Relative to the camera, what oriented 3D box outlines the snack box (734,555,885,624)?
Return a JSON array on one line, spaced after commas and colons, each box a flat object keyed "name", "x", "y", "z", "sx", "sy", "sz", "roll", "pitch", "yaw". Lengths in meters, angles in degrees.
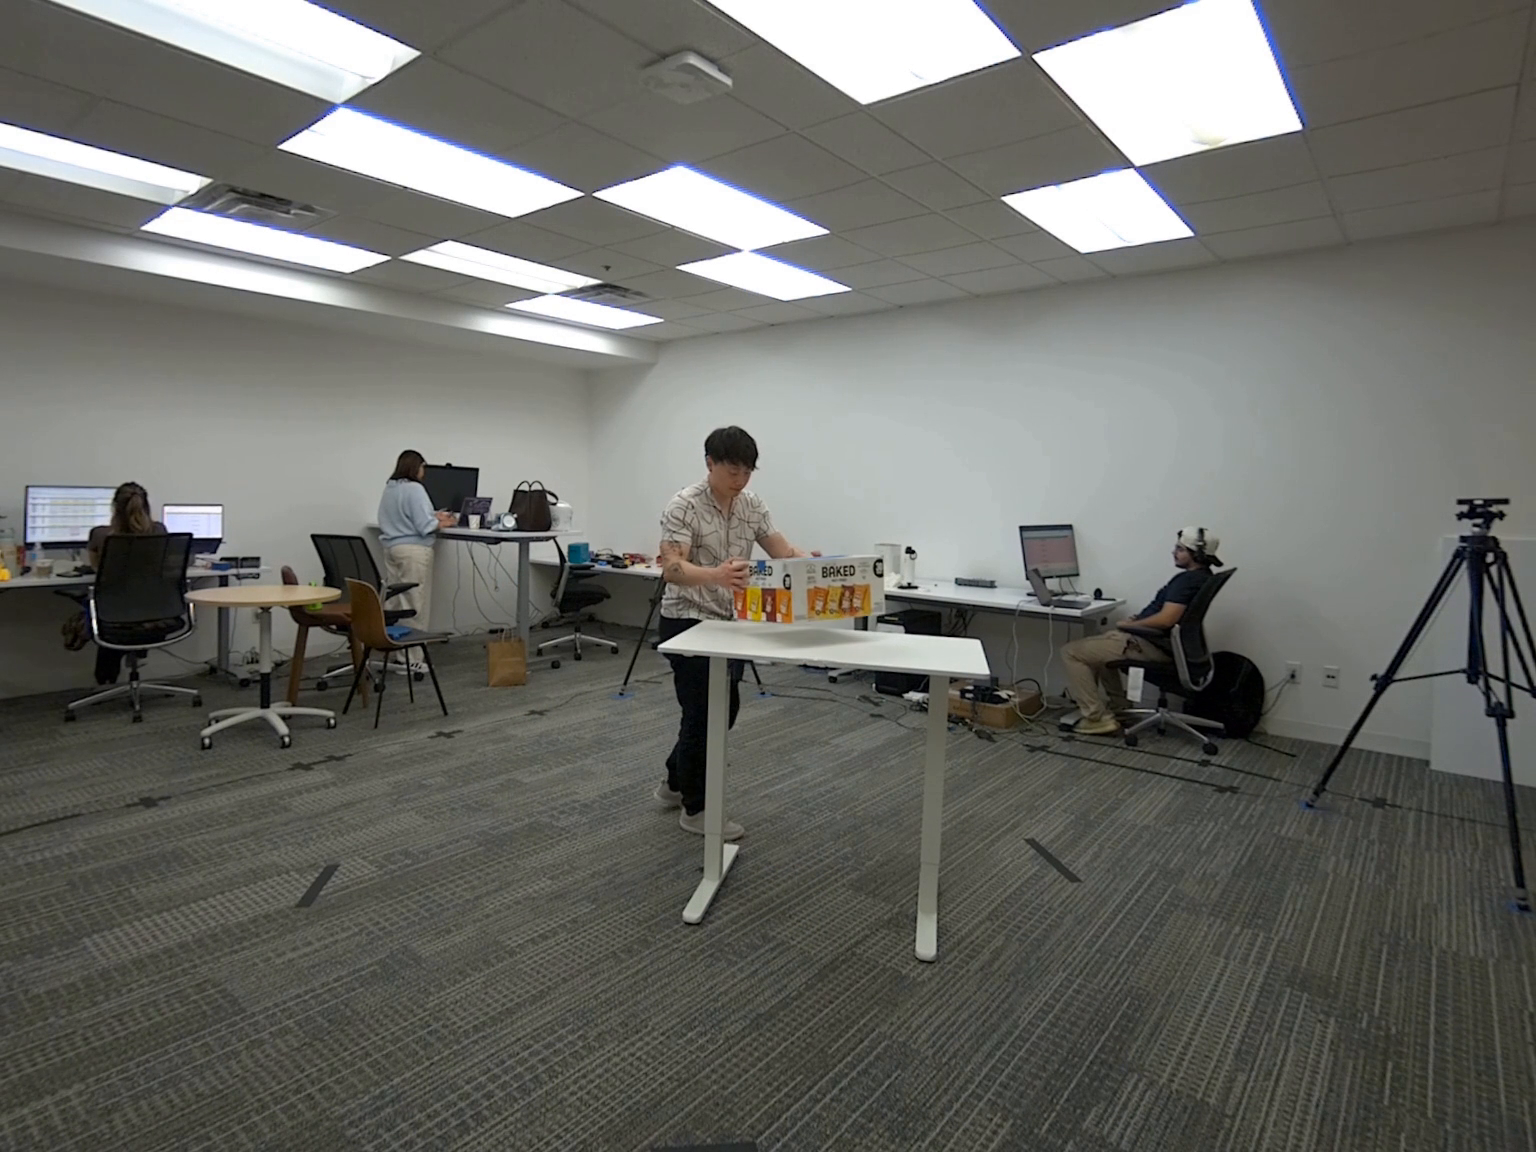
[{"name": "snack box", "x": 0.137, "y": 0.036, "z": 2.955, "sx": 0.394, "sy": 0.205, "sz": 0.350, "roll": -4, "pitch": 2, "yaw": -35}]
